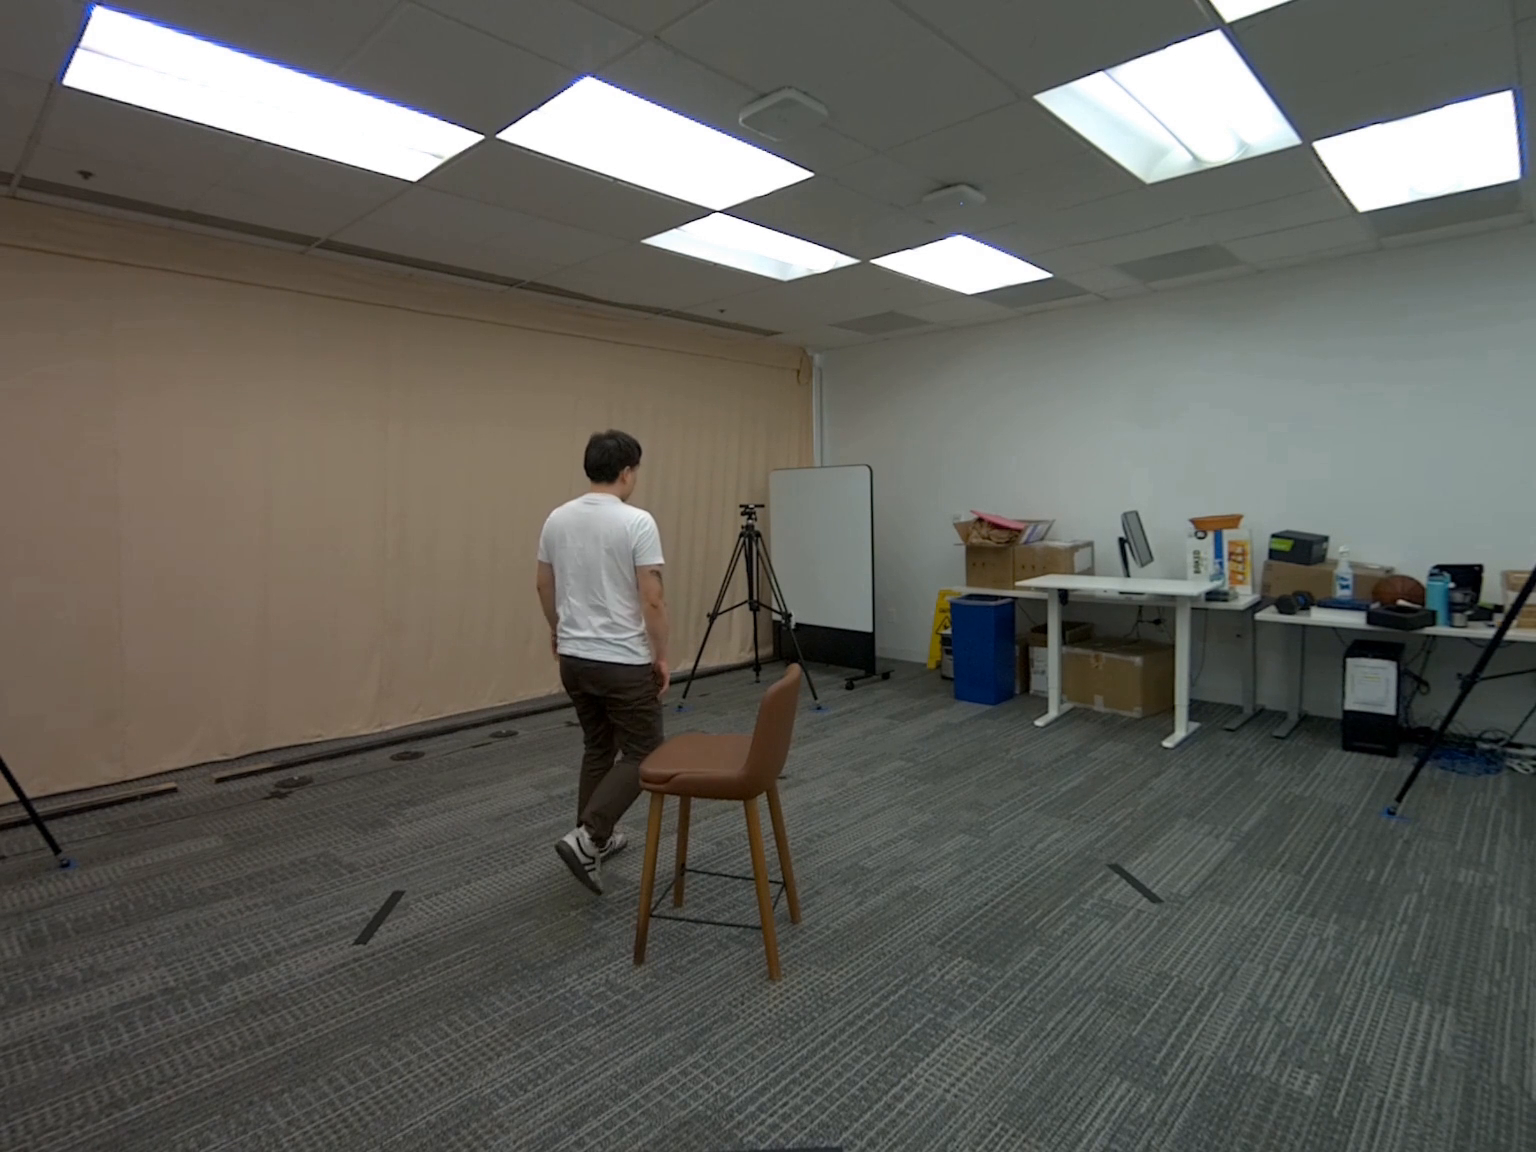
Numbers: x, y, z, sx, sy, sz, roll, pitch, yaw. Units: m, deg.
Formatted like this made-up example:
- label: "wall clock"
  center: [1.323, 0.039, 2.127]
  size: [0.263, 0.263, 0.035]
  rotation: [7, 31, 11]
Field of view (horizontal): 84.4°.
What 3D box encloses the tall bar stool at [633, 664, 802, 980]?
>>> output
- label: "tall bar stool"
  center: [-0.147, 0.737, 2.669]
  size: [0.476, 0.887, 0.450]
  rotation: [1, 4, 16]
